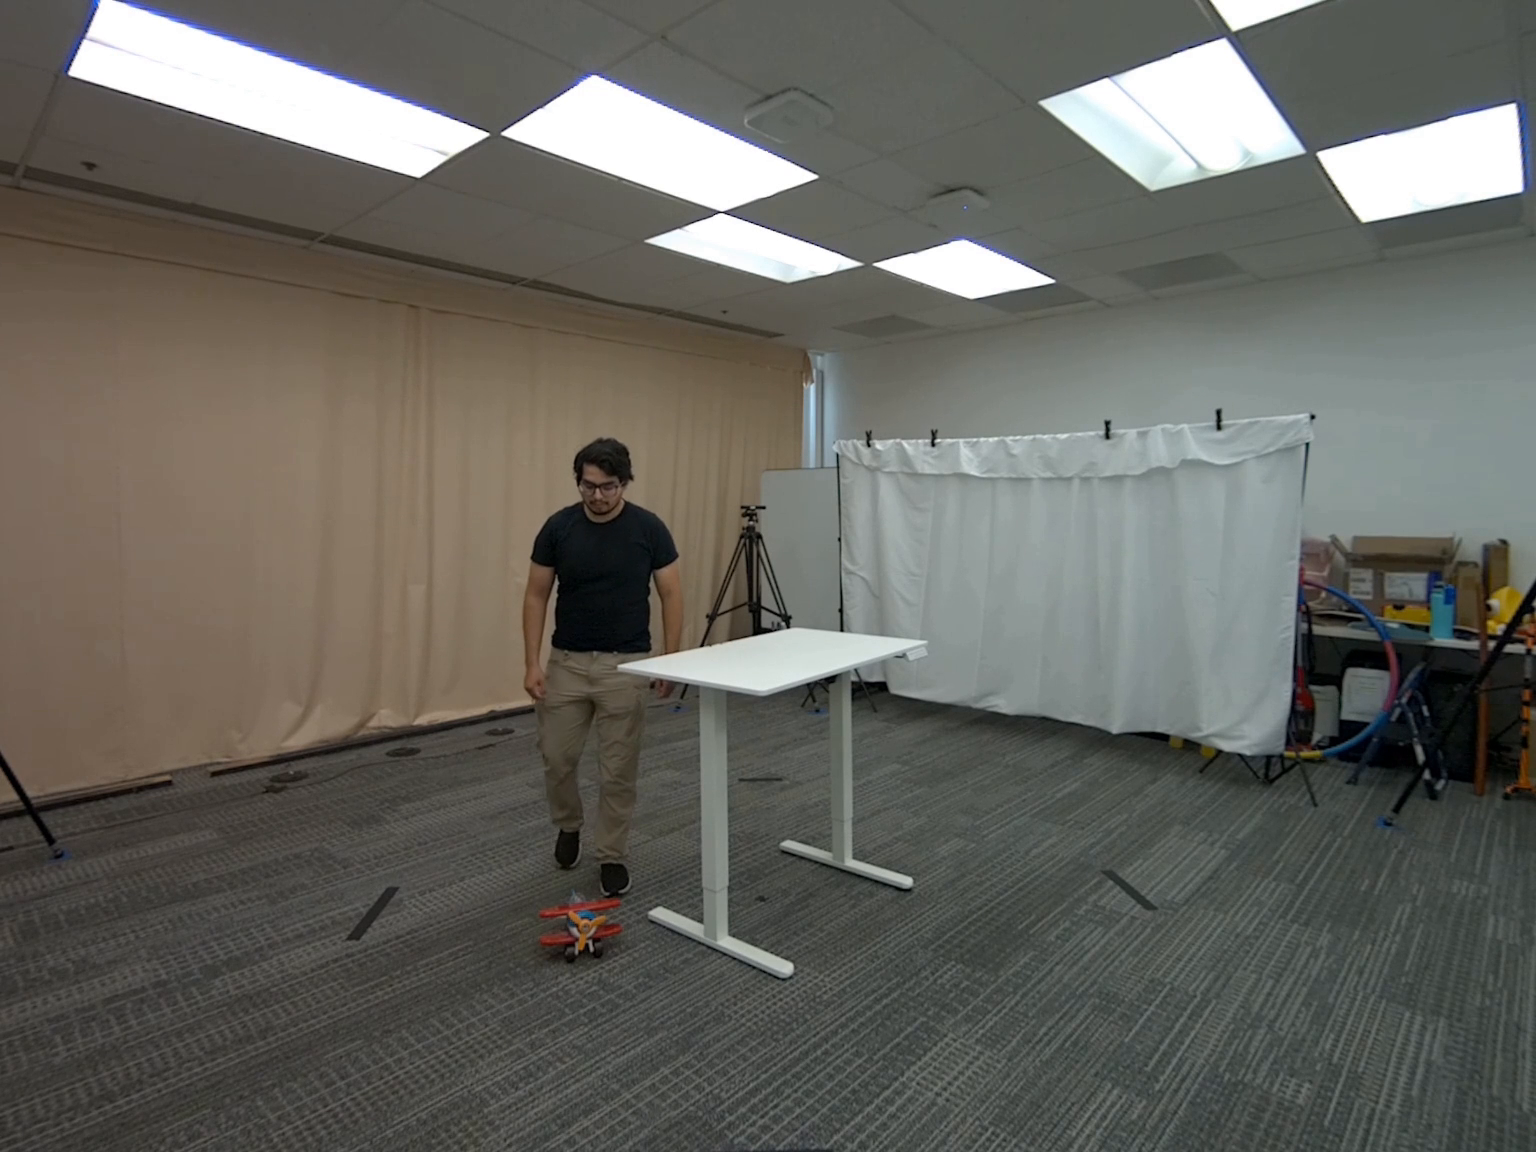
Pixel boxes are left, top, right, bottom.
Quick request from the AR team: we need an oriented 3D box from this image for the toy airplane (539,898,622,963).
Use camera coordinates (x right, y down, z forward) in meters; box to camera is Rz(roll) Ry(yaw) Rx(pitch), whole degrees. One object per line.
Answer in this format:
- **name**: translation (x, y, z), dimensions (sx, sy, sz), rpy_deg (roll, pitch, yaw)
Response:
- **toy airplane**: translation (-0.617, 1.098, 2.673), dimensions (0.268, 0.156, 0.243), rpy_deg (7, 9, 44)
